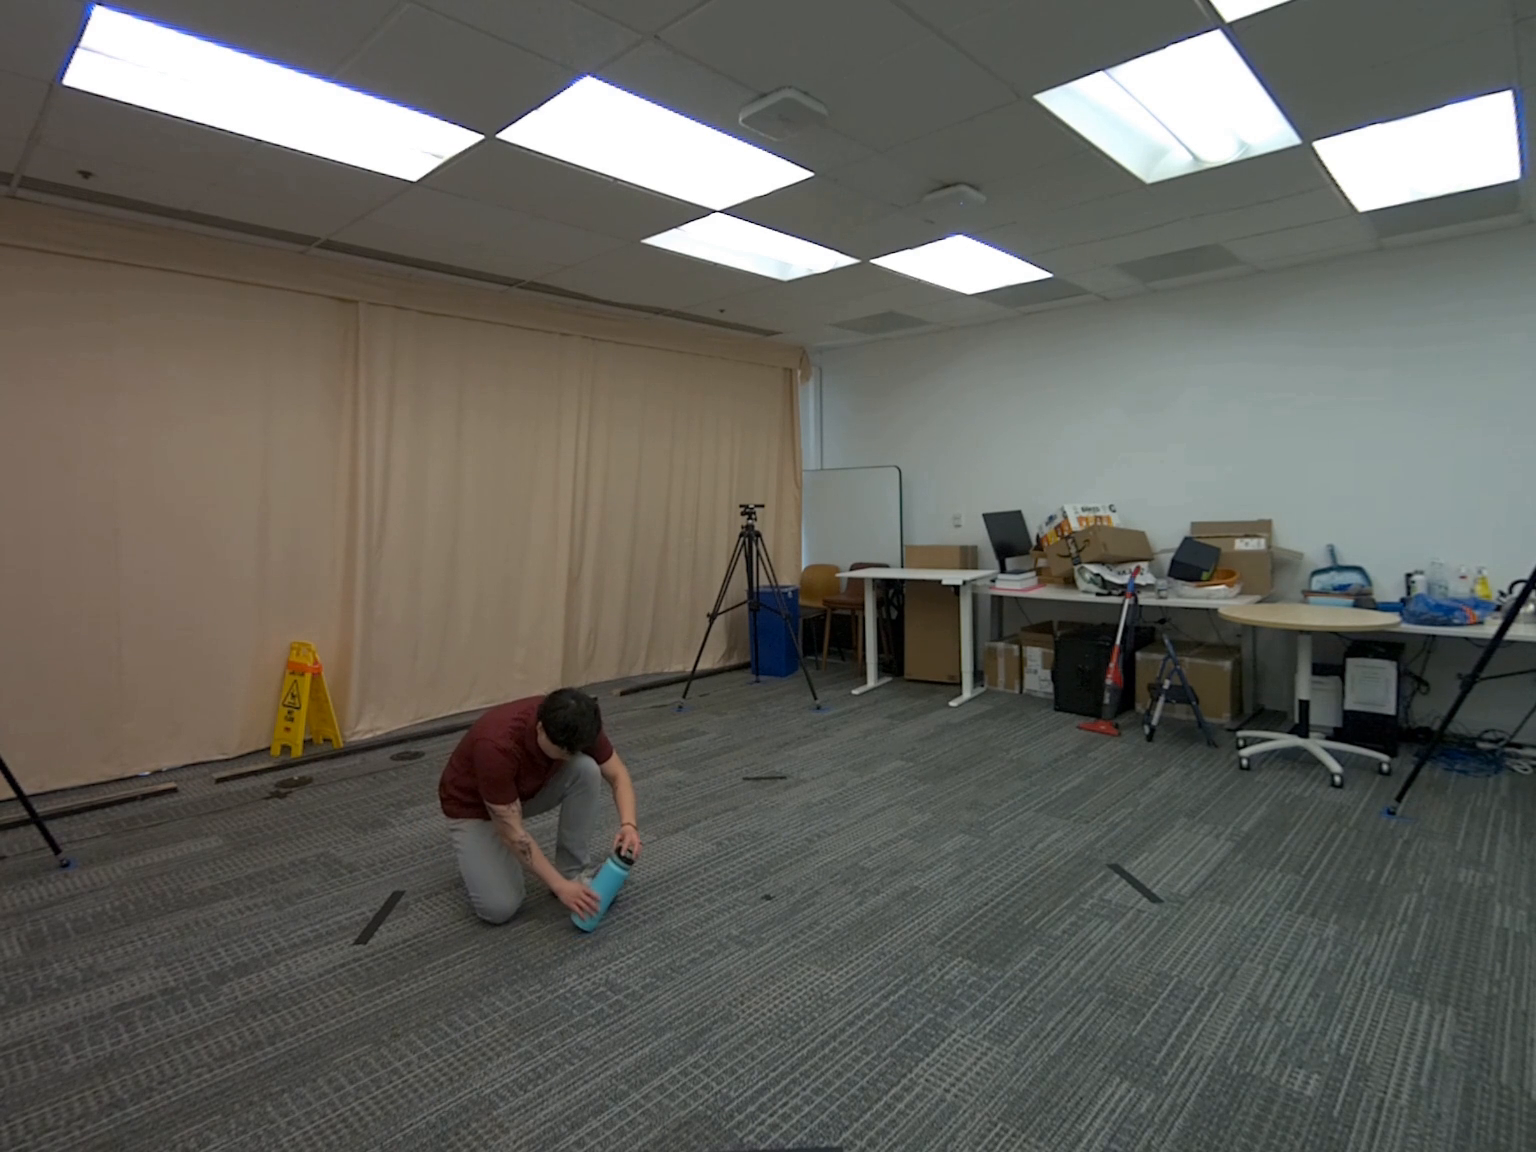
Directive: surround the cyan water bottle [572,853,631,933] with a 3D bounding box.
[{"bbox_3d":[-0.542,1.039,2.790,0.092,0.283,0.092,33,-3,0],"label":"cyan water bottle"}]
